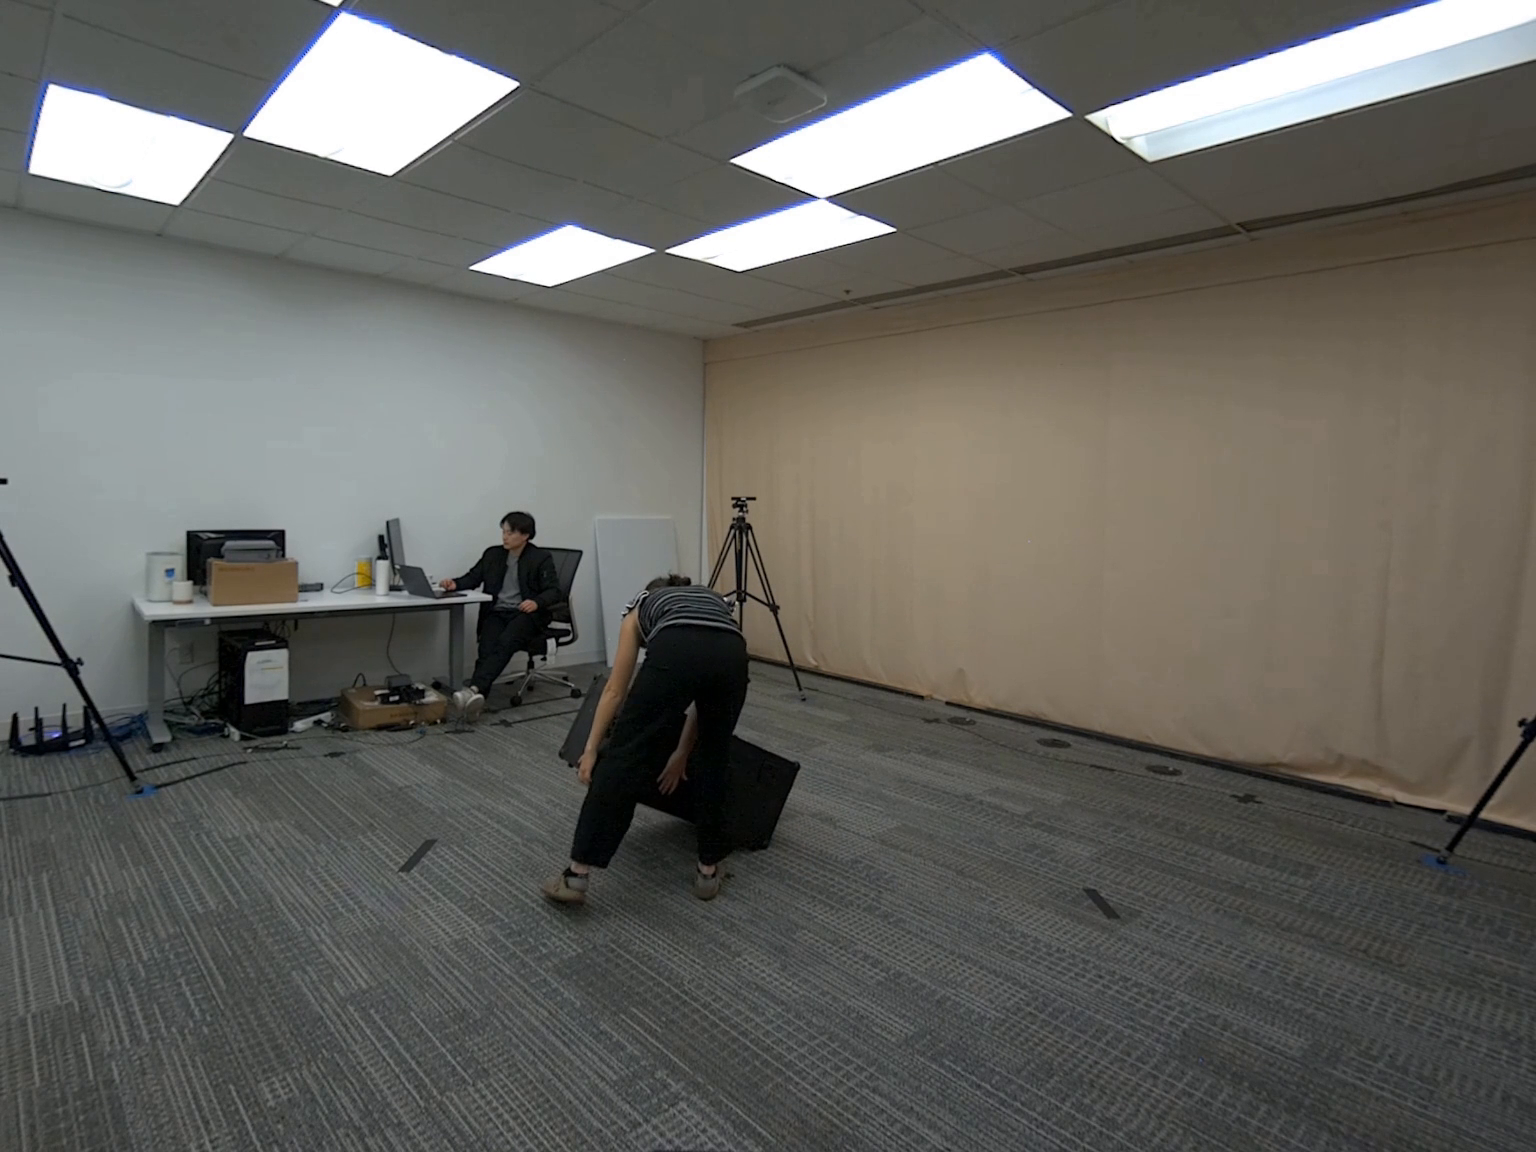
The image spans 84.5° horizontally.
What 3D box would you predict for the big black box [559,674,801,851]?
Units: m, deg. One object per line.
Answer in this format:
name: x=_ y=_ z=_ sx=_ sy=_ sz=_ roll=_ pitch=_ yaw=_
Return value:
big black box: x=-0.341 y=0.771 z=3.408 sx=0.838 sy=0.398 sz=0.534 roll=30 pitch=-12 yaw=-31
